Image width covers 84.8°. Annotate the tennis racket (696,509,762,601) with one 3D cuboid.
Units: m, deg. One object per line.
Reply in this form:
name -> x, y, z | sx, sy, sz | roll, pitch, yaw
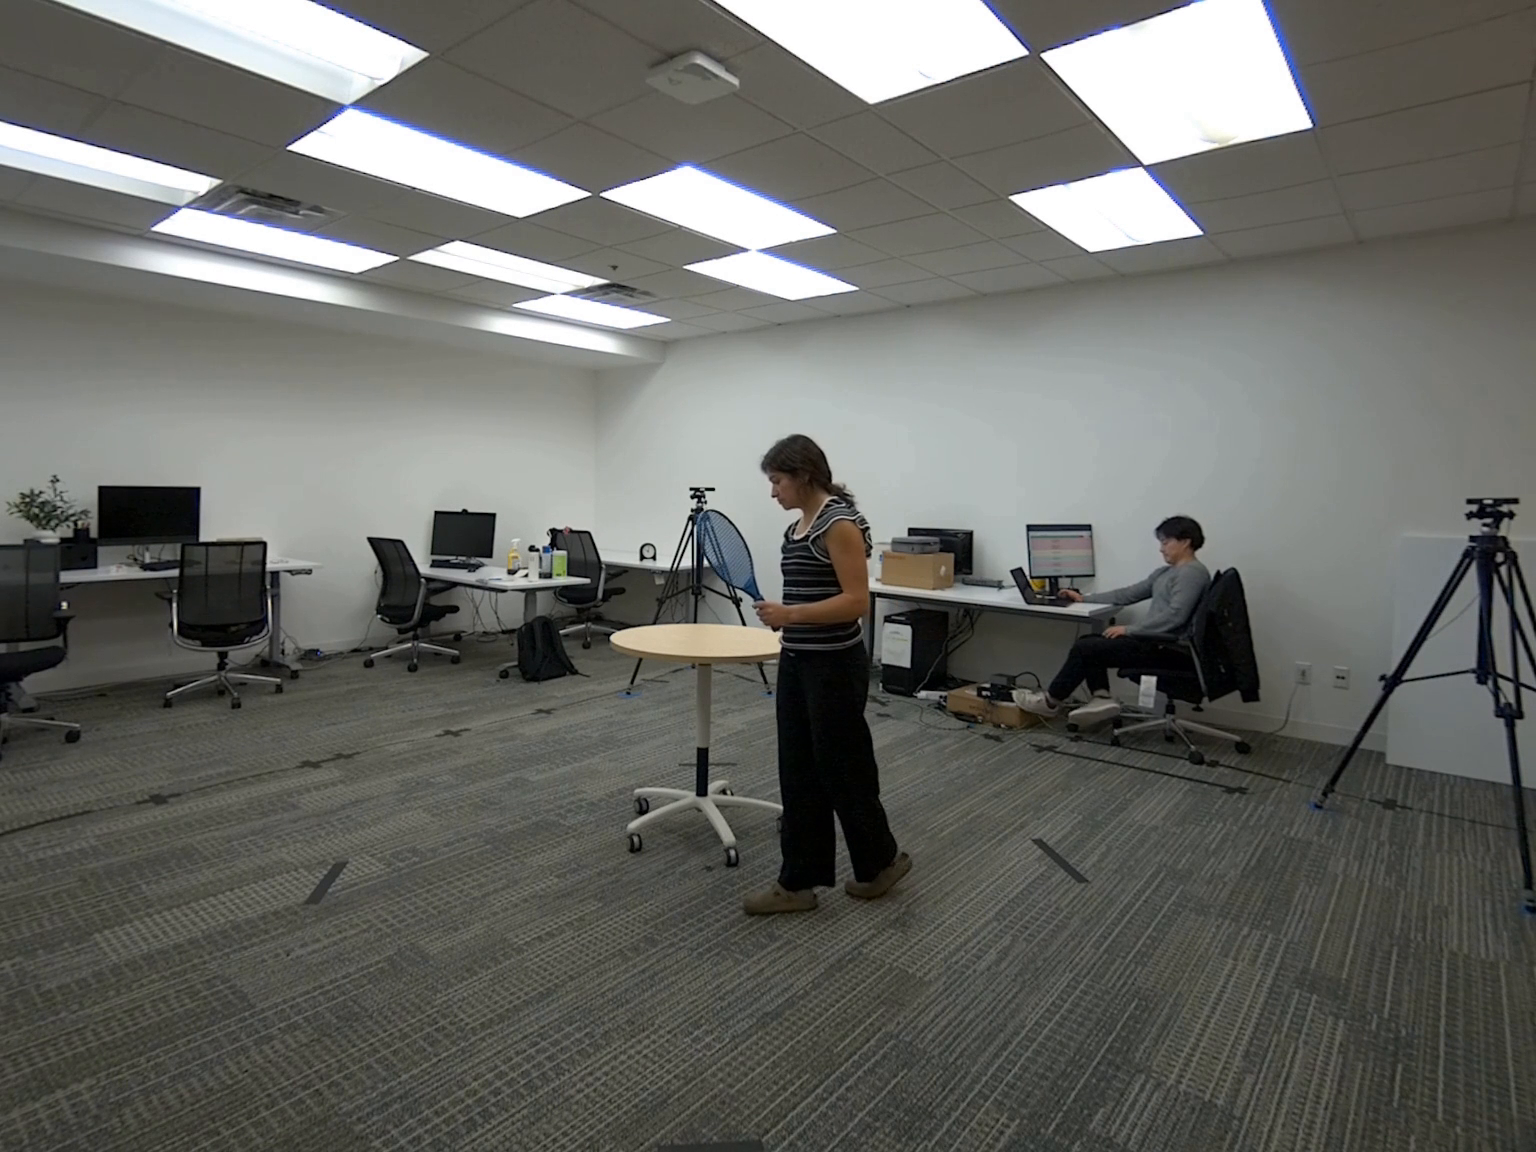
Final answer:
tennis racket -> -0.088, -0.013, 2.614 | 0.032, 0.425, 0.214 | -23, 18, 37
